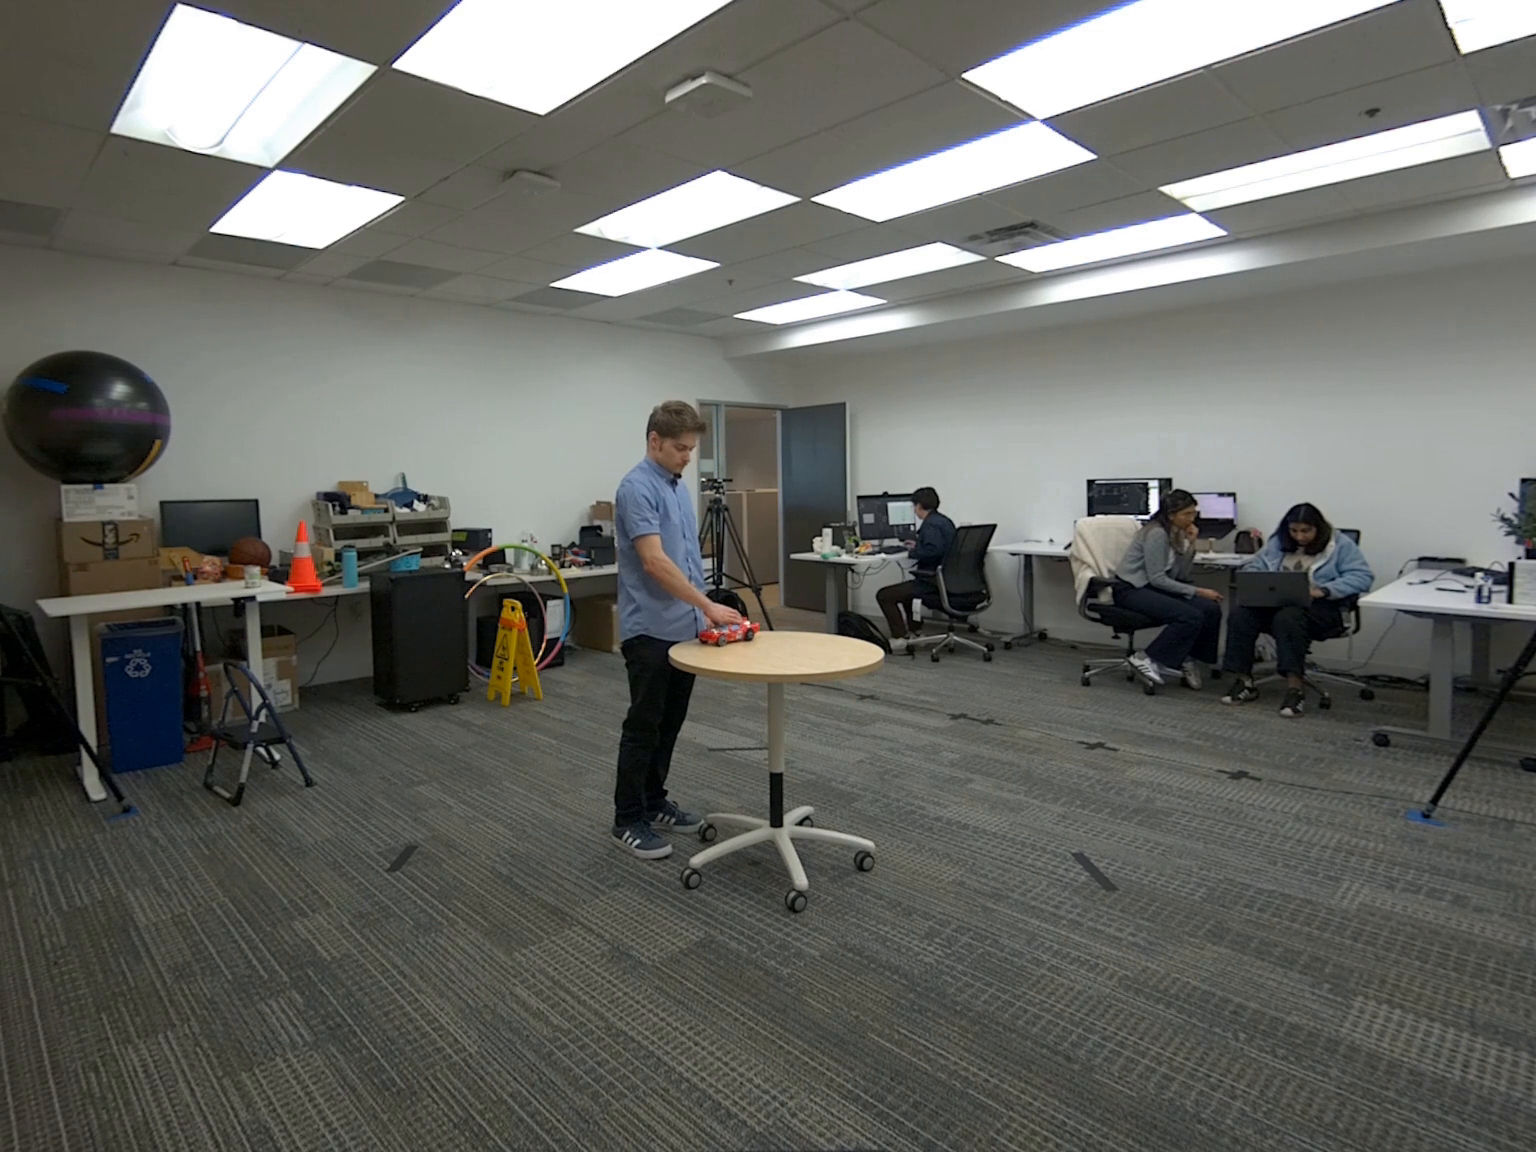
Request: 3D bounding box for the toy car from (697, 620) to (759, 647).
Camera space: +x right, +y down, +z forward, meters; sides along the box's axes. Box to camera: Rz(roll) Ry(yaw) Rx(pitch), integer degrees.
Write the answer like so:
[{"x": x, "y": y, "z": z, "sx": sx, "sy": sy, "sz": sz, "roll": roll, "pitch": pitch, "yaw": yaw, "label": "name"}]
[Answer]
[{"x": -0.145, "y": 0.214, "z": 3.224, "sx": 0.250, "sy": 0.082, "sz": 0.134, "roll": -20, "pitch": 16, "yaw": -42, "label": "toy car"}]
